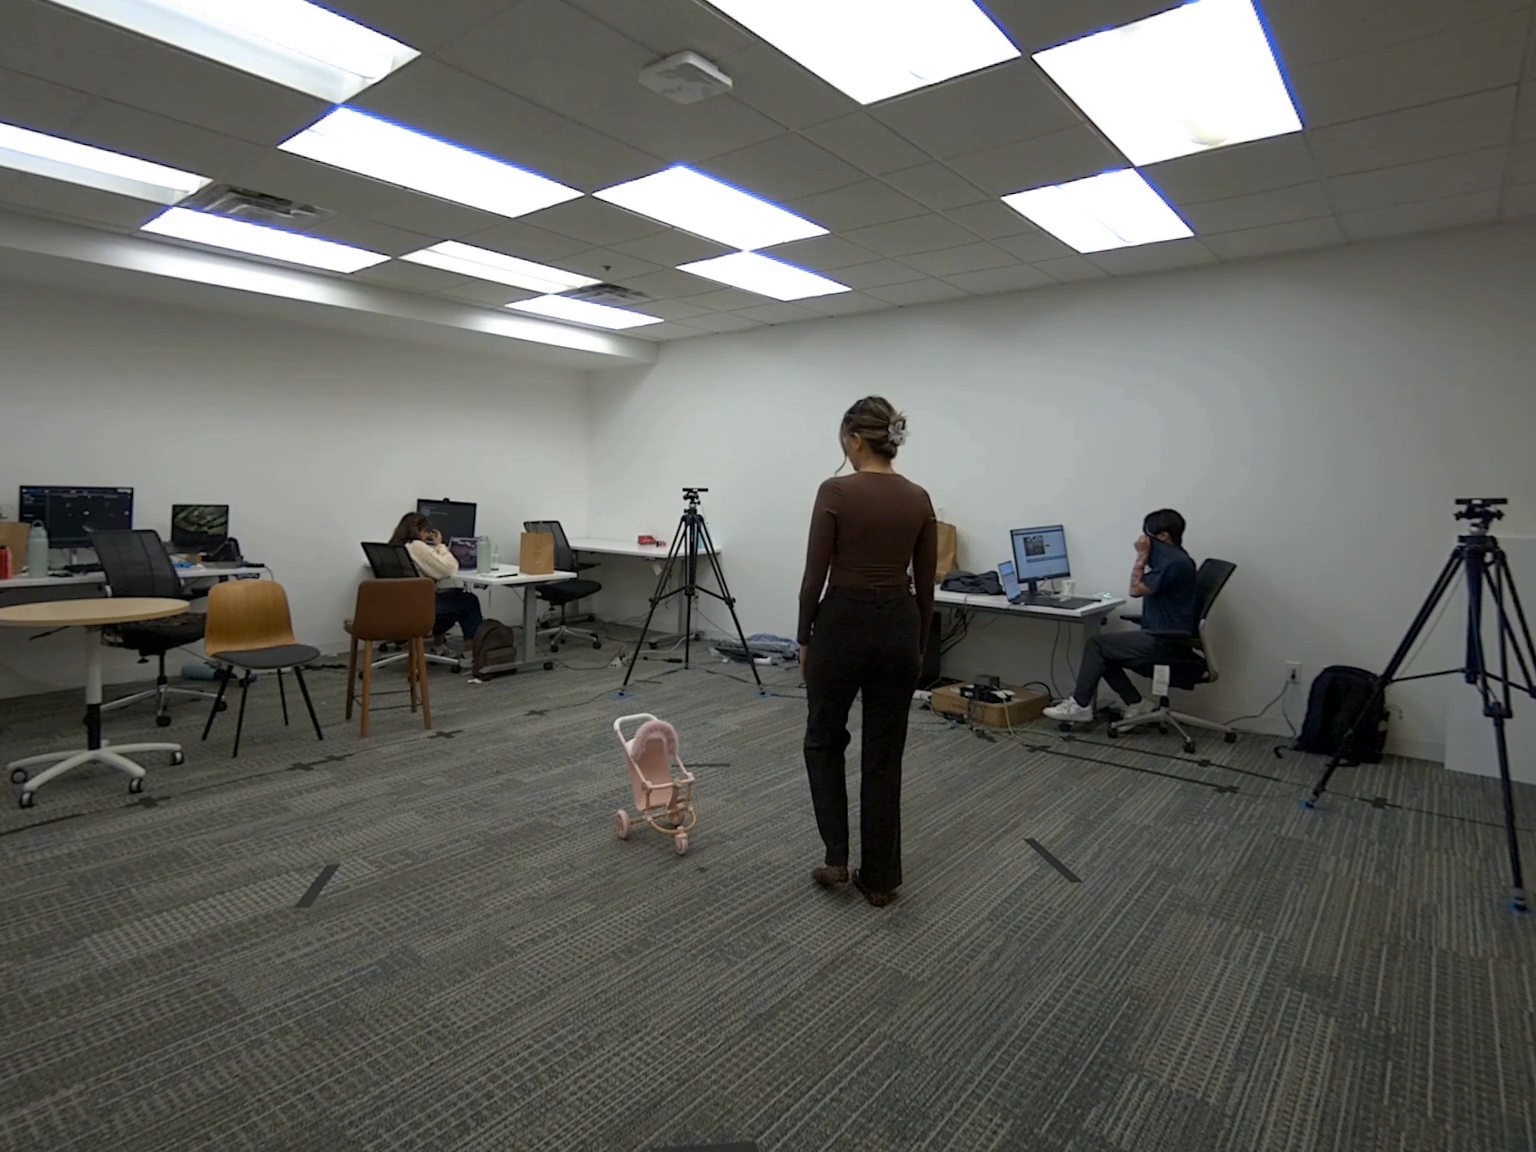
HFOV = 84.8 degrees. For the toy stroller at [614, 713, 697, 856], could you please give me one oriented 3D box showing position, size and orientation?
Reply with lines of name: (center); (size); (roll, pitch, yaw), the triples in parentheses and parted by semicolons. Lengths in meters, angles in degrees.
toy stroller: (-0.451, 0.811, 3.385); (0.274, 0.541, 0.347); (-1, -12, -32)
